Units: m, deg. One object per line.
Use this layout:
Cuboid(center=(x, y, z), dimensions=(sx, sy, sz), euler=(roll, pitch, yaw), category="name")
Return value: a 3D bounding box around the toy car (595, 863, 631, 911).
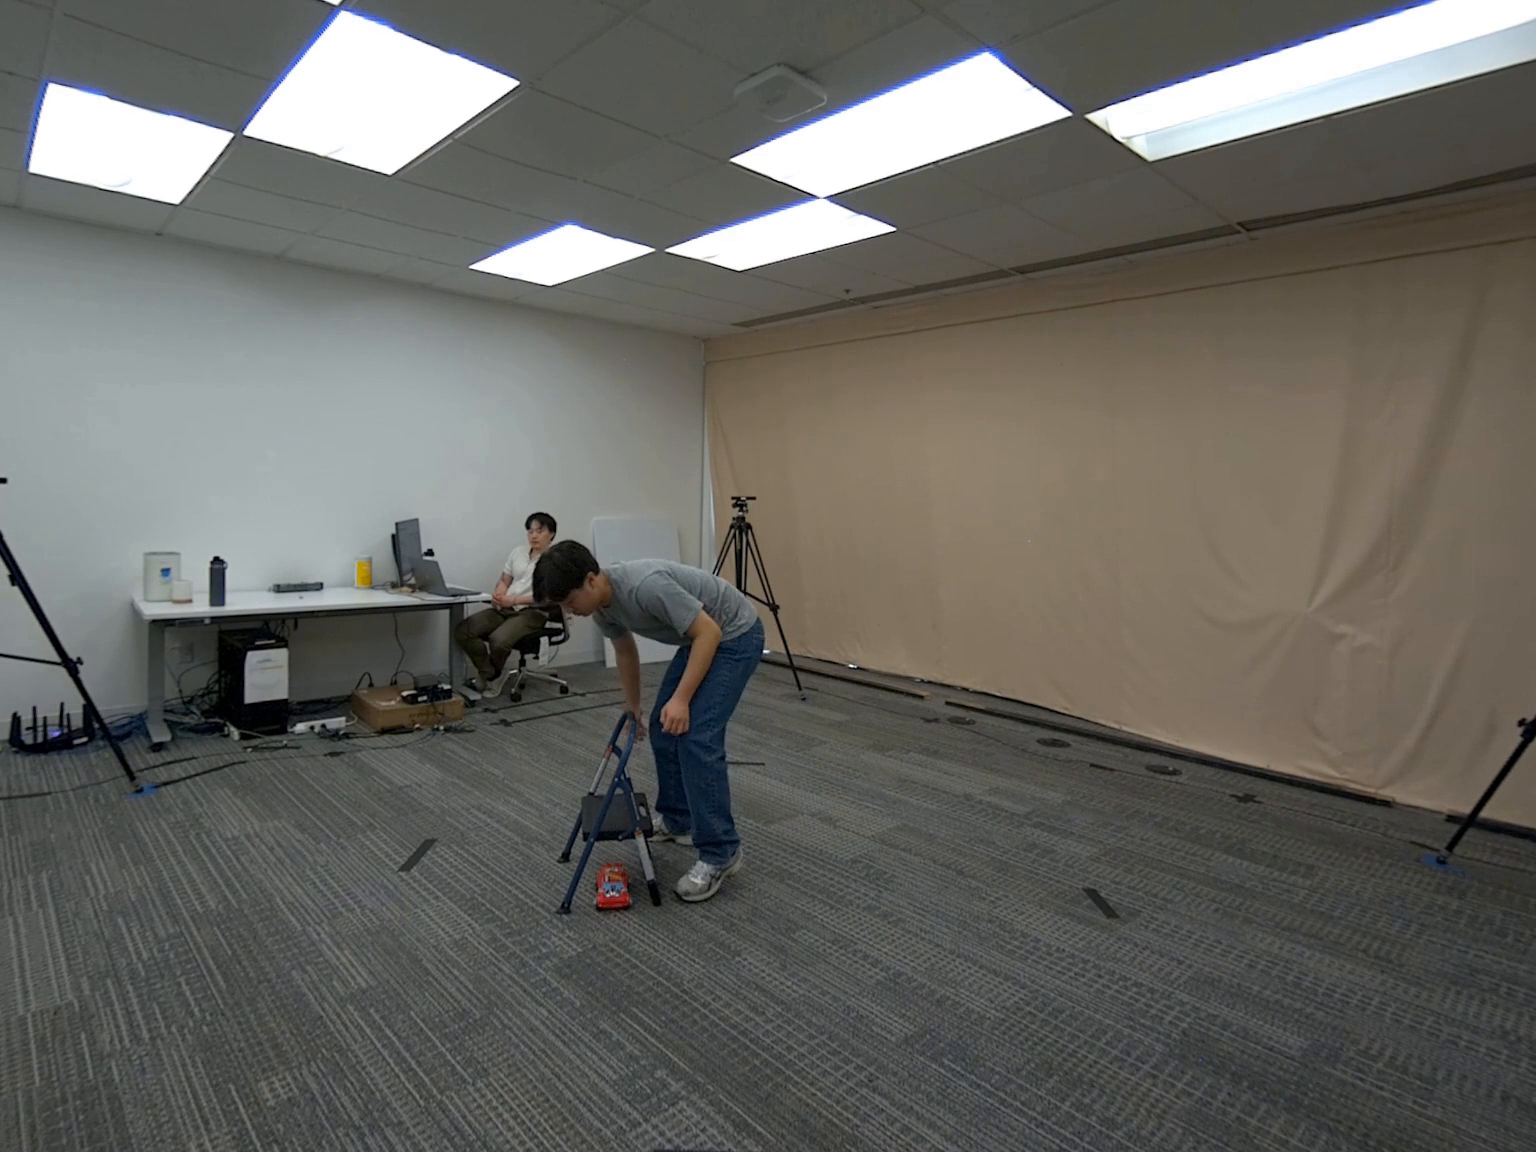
Cuboid(center=(-0.555, 1.090, 2.916), dimensions=(0.129, 0.082, 0.259), euler=(-1, 16, -12), category="toy car")
